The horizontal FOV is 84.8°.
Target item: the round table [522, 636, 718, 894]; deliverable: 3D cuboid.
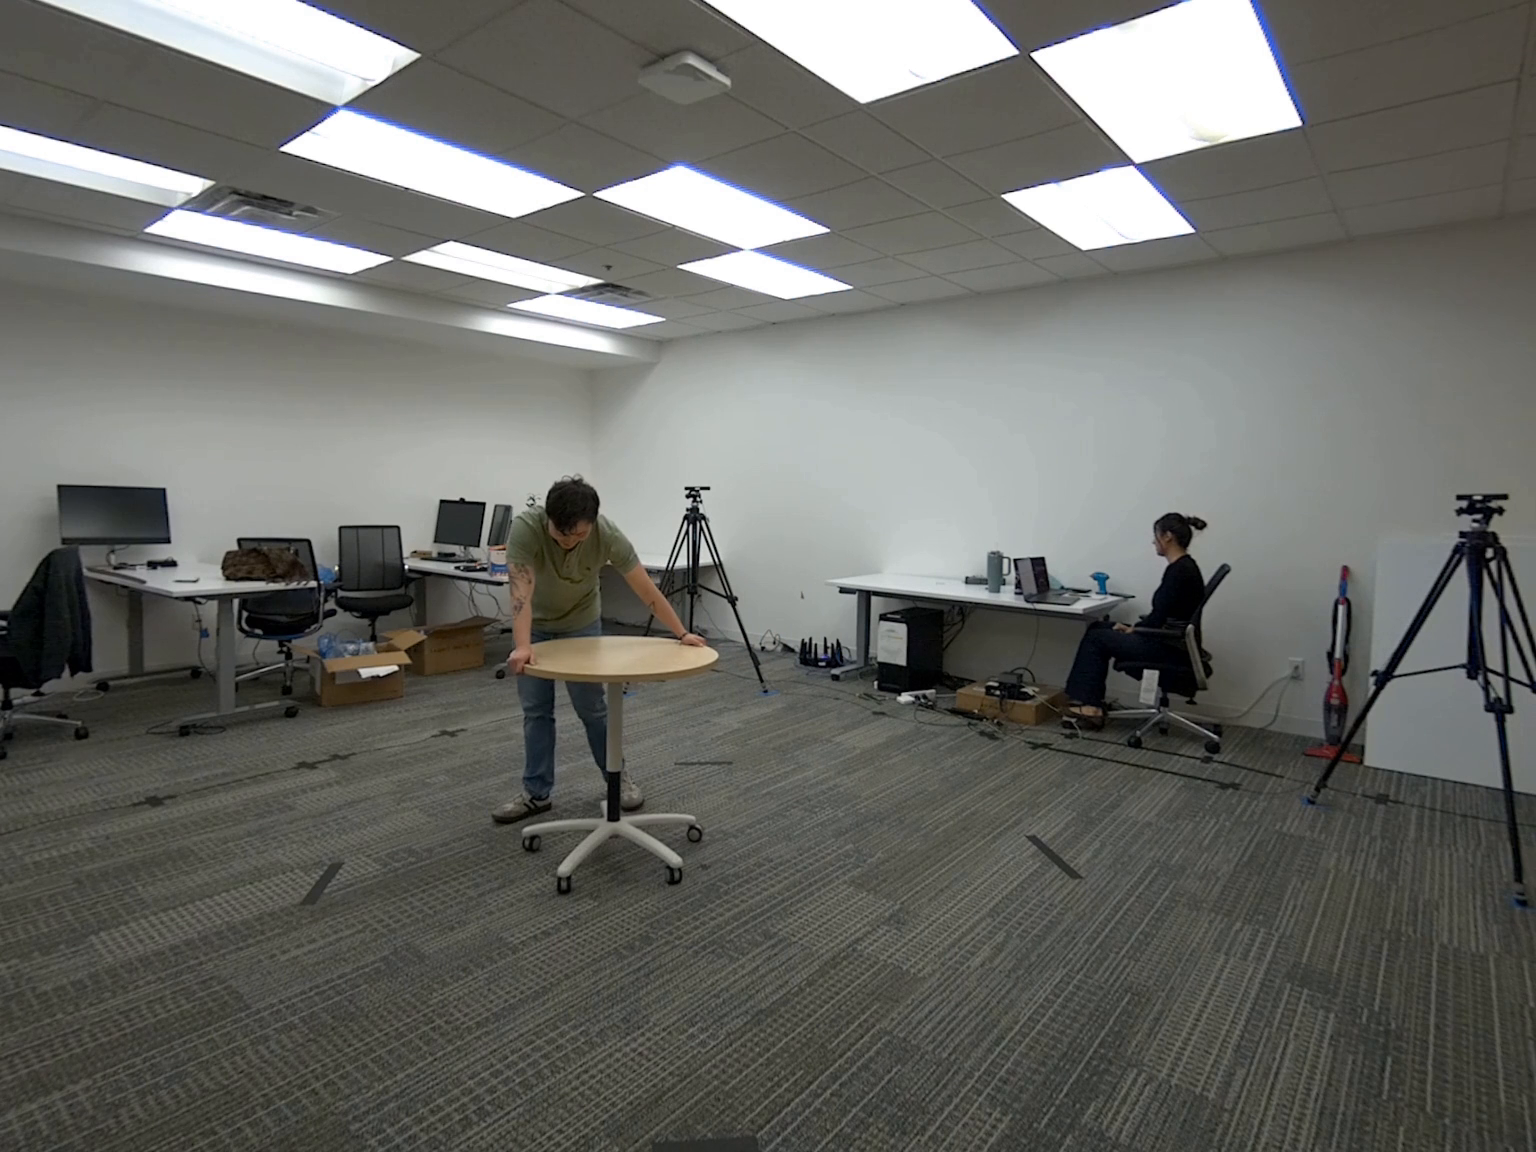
[{"bbox_3d":[-0.583,0.670,3.174,0.763,0.792,0.767,1,4,-2],"label":"round table"}]
